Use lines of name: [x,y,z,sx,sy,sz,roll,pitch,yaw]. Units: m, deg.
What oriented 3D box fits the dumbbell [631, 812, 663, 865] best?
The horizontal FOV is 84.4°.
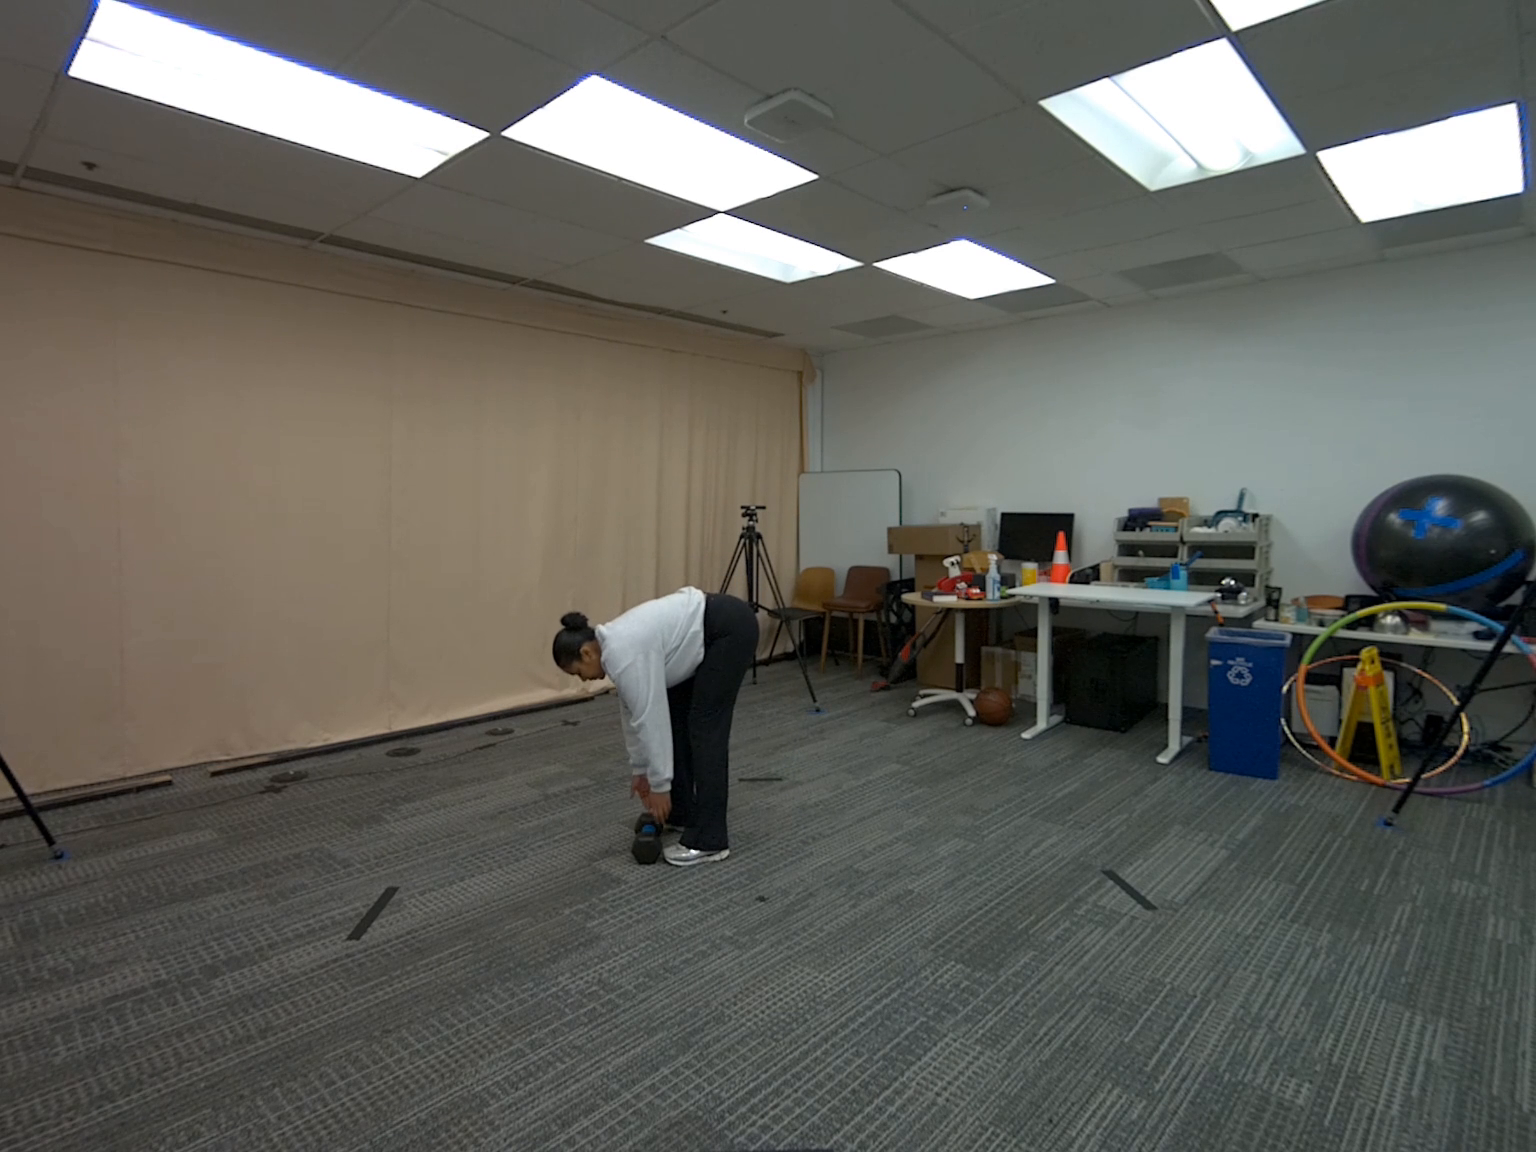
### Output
dumbbell: [-0.488,1.062,3.415,0.108,0.123,0.295,29,2,-7]
